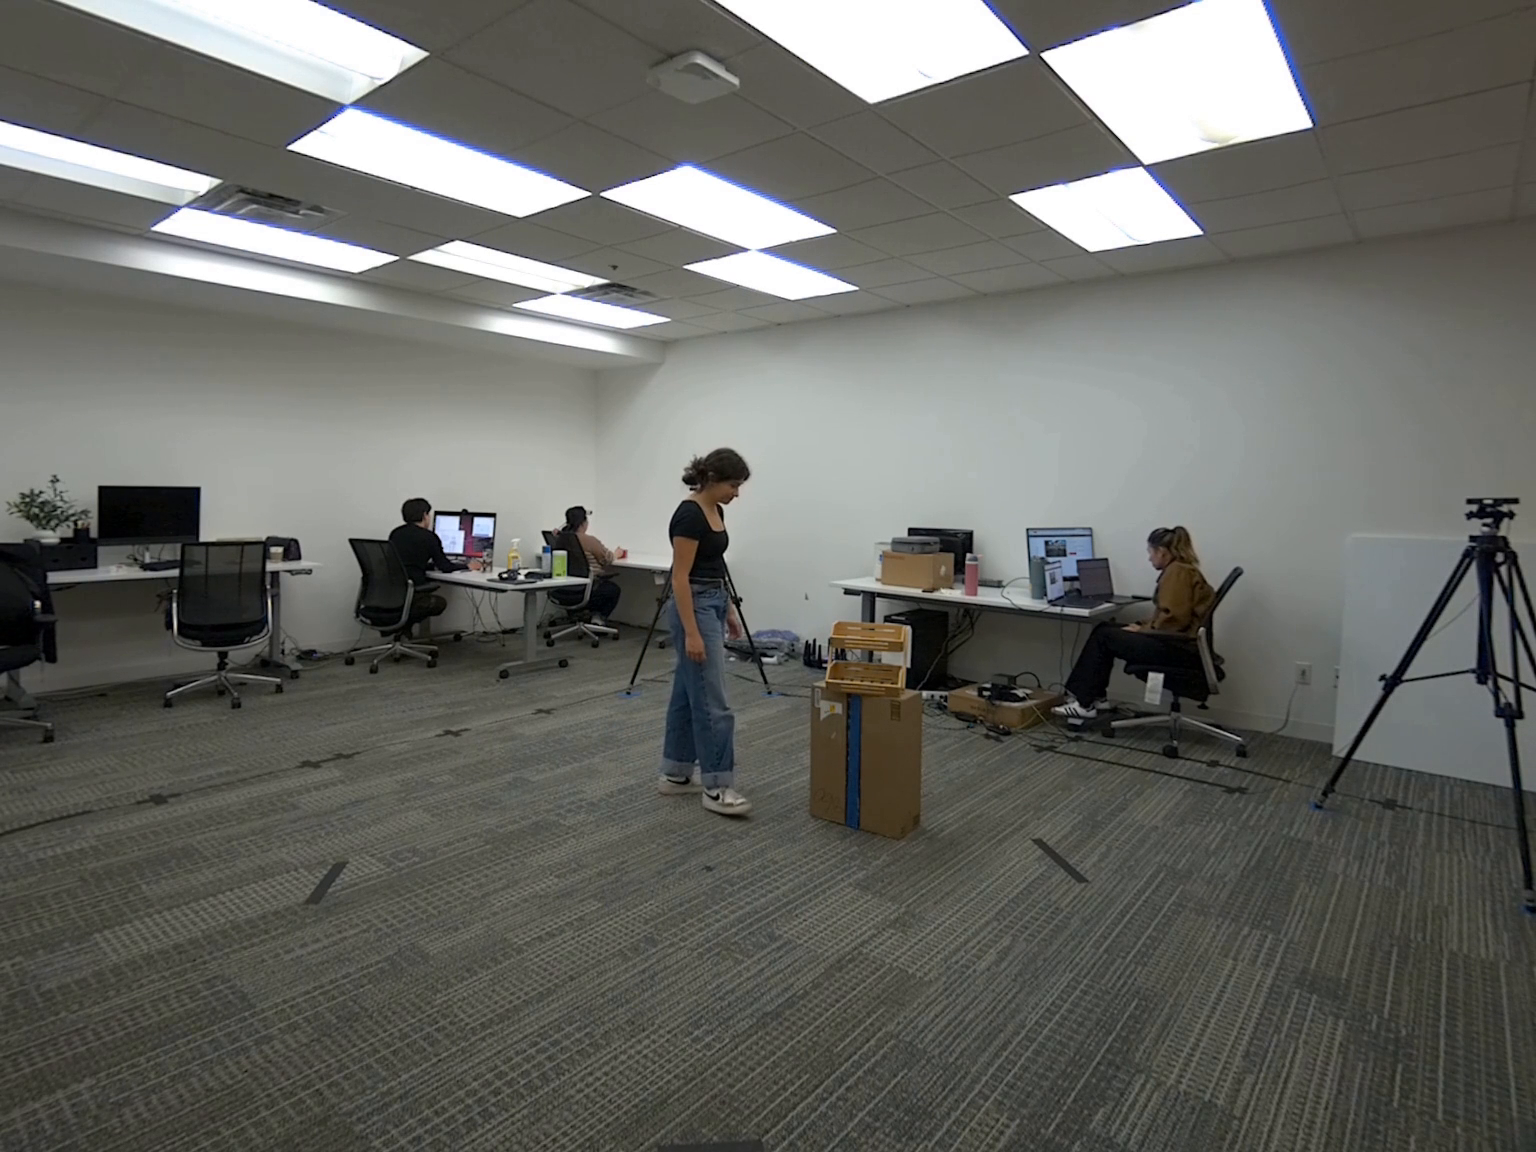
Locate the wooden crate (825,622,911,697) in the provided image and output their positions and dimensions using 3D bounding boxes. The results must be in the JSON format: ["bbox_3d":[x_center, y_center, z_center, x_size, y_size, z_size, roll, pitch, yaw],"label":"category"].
[{"bbox_3d":[0.409,0.334,3.561,0.330,0.273,0.297,2,2,14],"label":"wooden crate"}]
